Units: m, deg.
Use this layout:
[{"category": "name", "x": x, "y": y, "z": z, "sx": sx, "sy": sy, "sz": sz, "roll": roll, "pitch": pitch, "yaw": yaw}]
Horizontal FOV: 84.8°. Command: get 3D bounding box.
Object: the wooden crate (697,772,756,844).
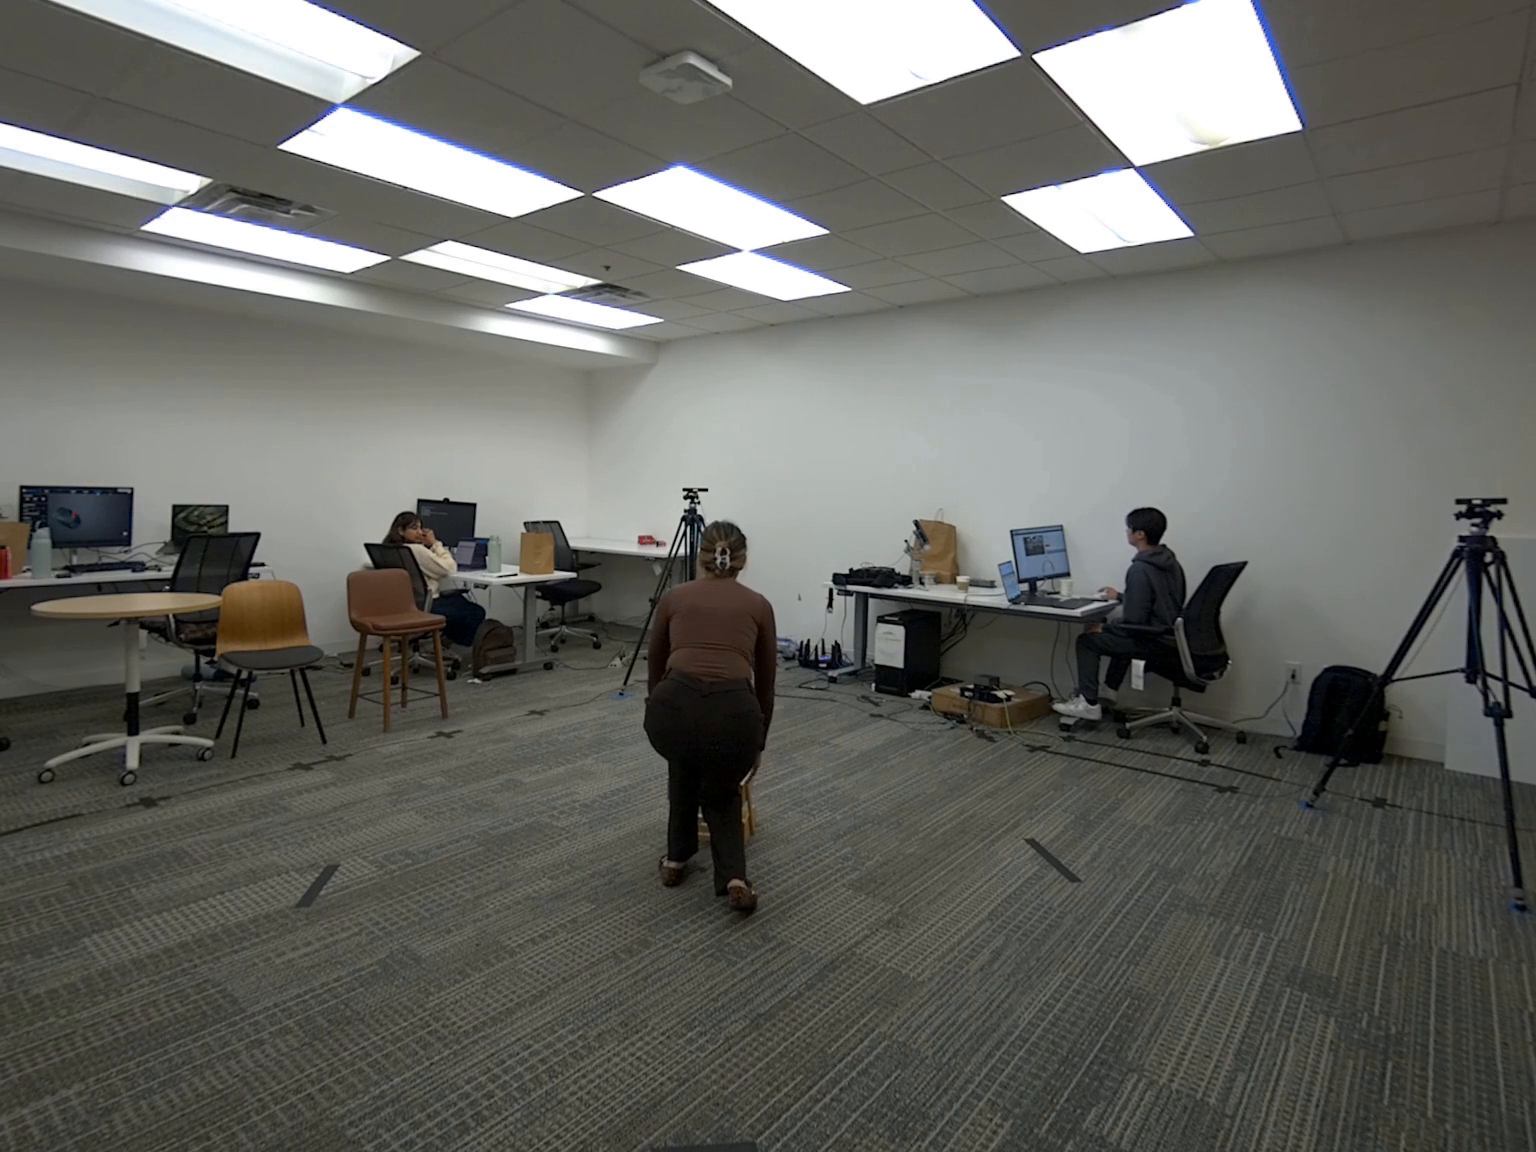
[{"category": "wooden crate", "x": -0.227, "y": 0.896, "z": 3.442, "sx": 0.329, "sy": 0.272, "sz": 0.299, "roll": 2, "pitch": 5, "yaw": 12}]
